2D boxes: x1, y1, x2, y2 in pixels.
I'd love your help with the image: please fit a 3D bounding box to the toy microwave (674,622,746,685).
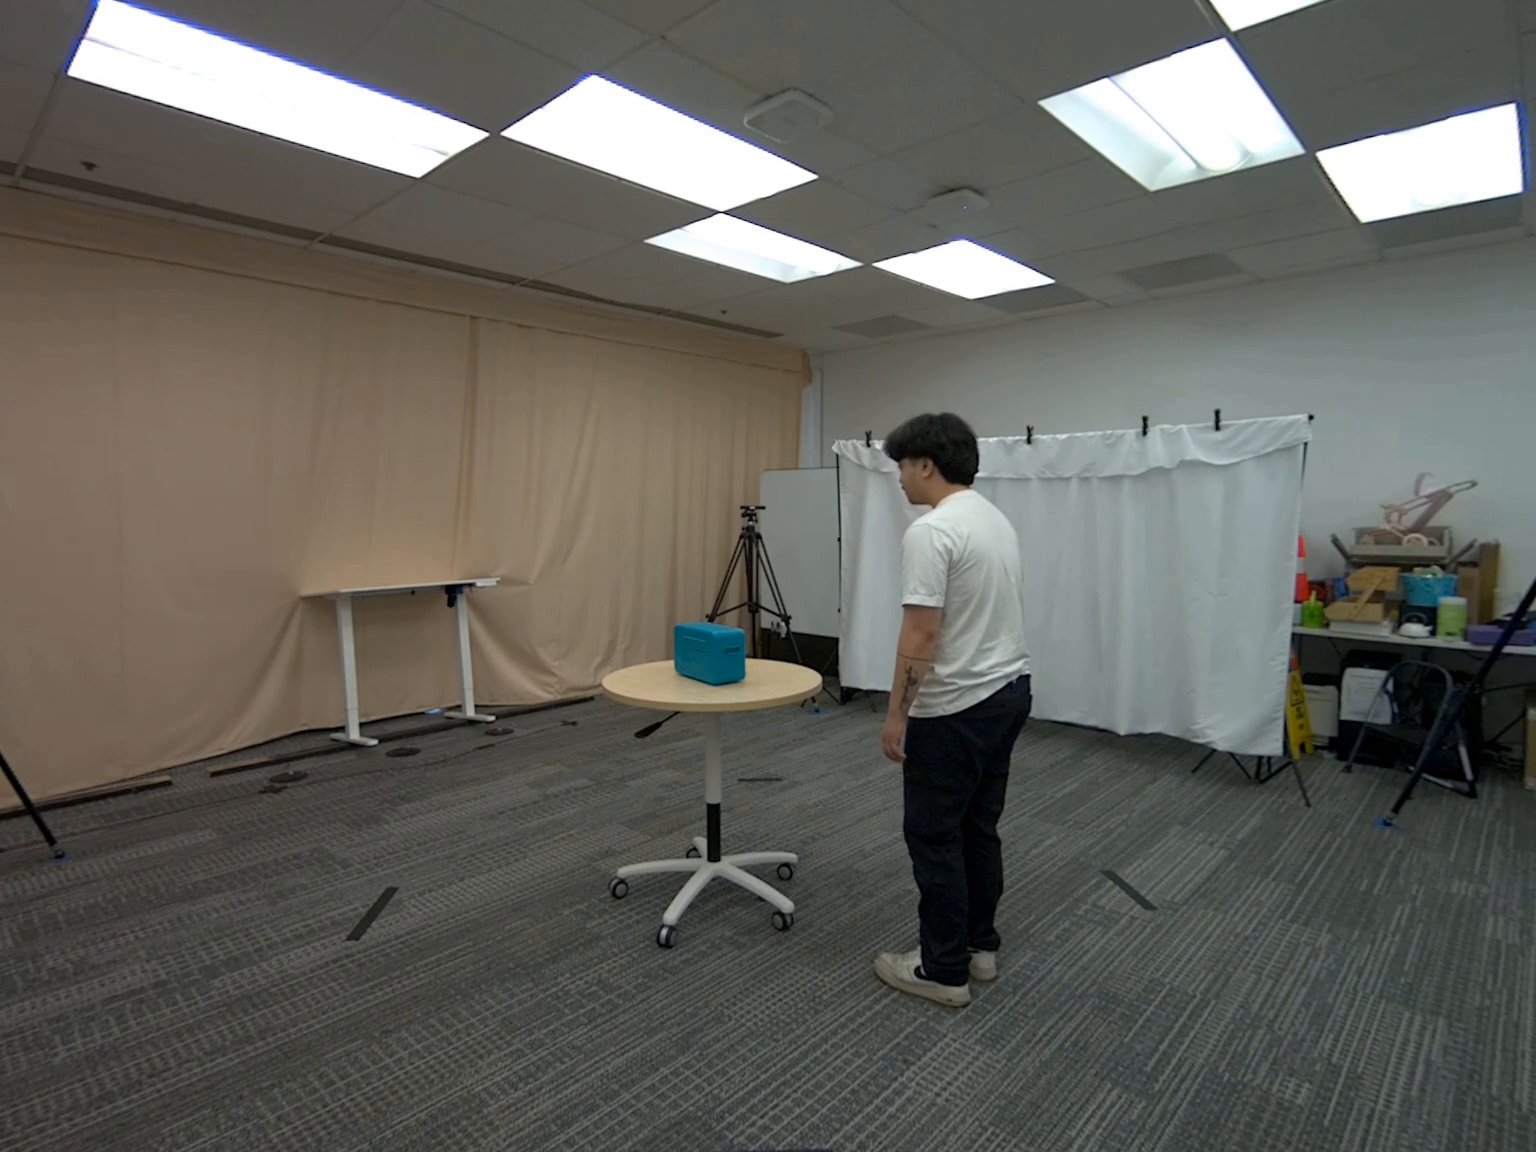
[{"bbox_3d":[-0.197,0.265,2.941,0.148,0.184,0.295,-3,4,-34],"label":"toy microwave"}]
